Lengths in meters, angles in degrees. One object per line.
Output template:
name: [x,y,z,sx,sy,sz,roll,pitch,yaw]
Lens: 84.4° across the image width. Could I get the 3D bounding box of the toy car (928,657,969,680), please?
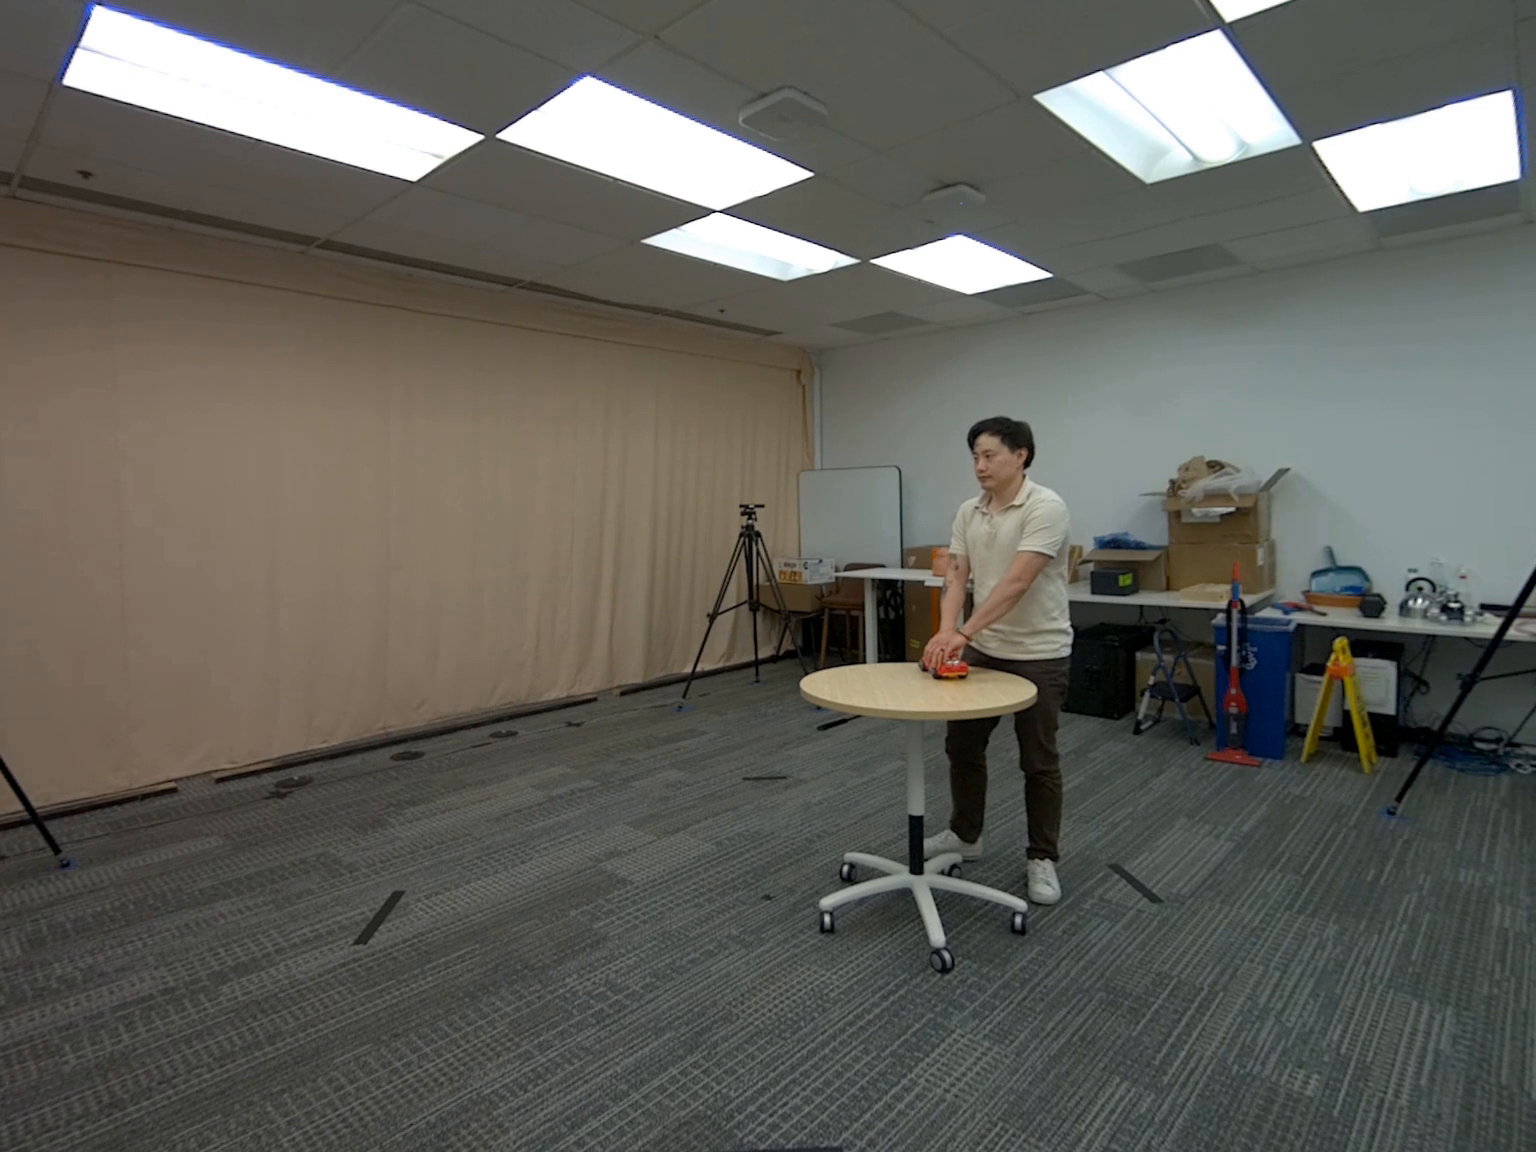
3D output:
toy car: [0.624,0.319,2.933,0.130,0.084,0.254,-2,-7,-5]
